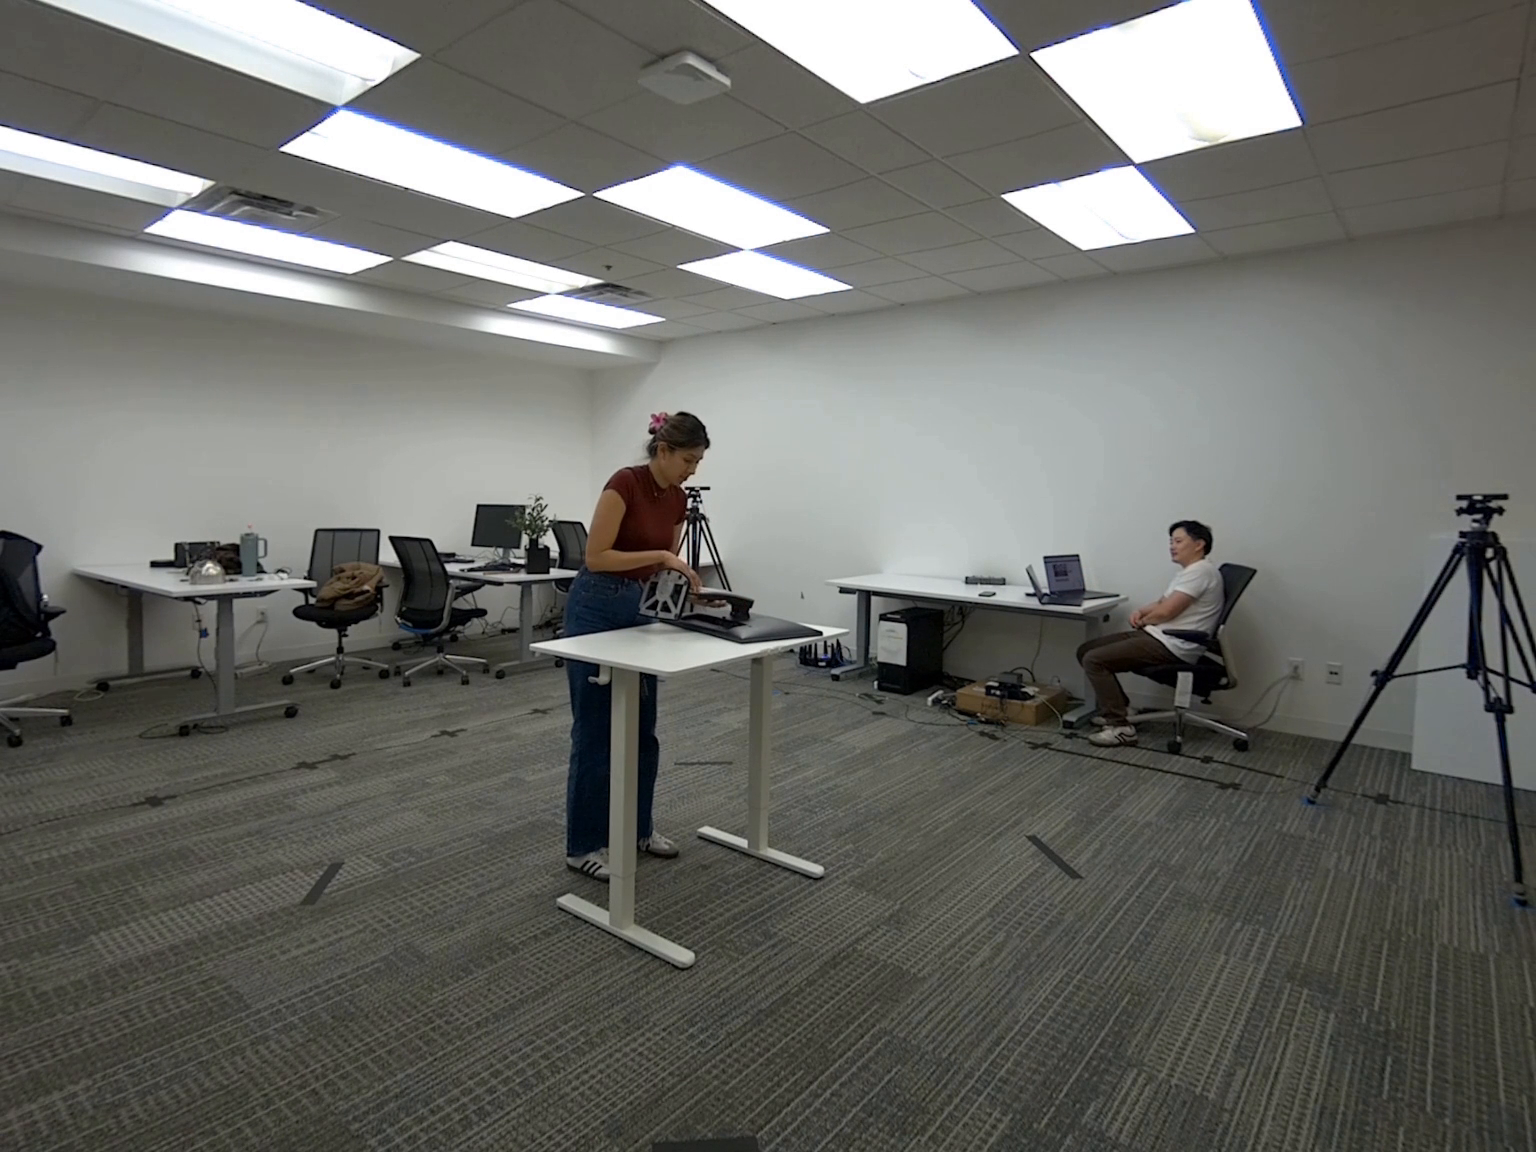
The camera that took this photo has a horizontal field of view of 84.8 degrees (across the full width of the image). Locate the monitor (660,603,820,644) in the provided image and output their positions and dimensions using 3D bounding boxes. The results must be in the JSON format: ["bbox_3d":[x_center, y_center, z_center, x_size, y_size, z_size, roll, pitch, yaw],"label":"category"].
[{"bbox_3d":[-0.178,0.126,3.037,0.504,0.188,0.557,18,-5,-35],"label":"monitor"}]
